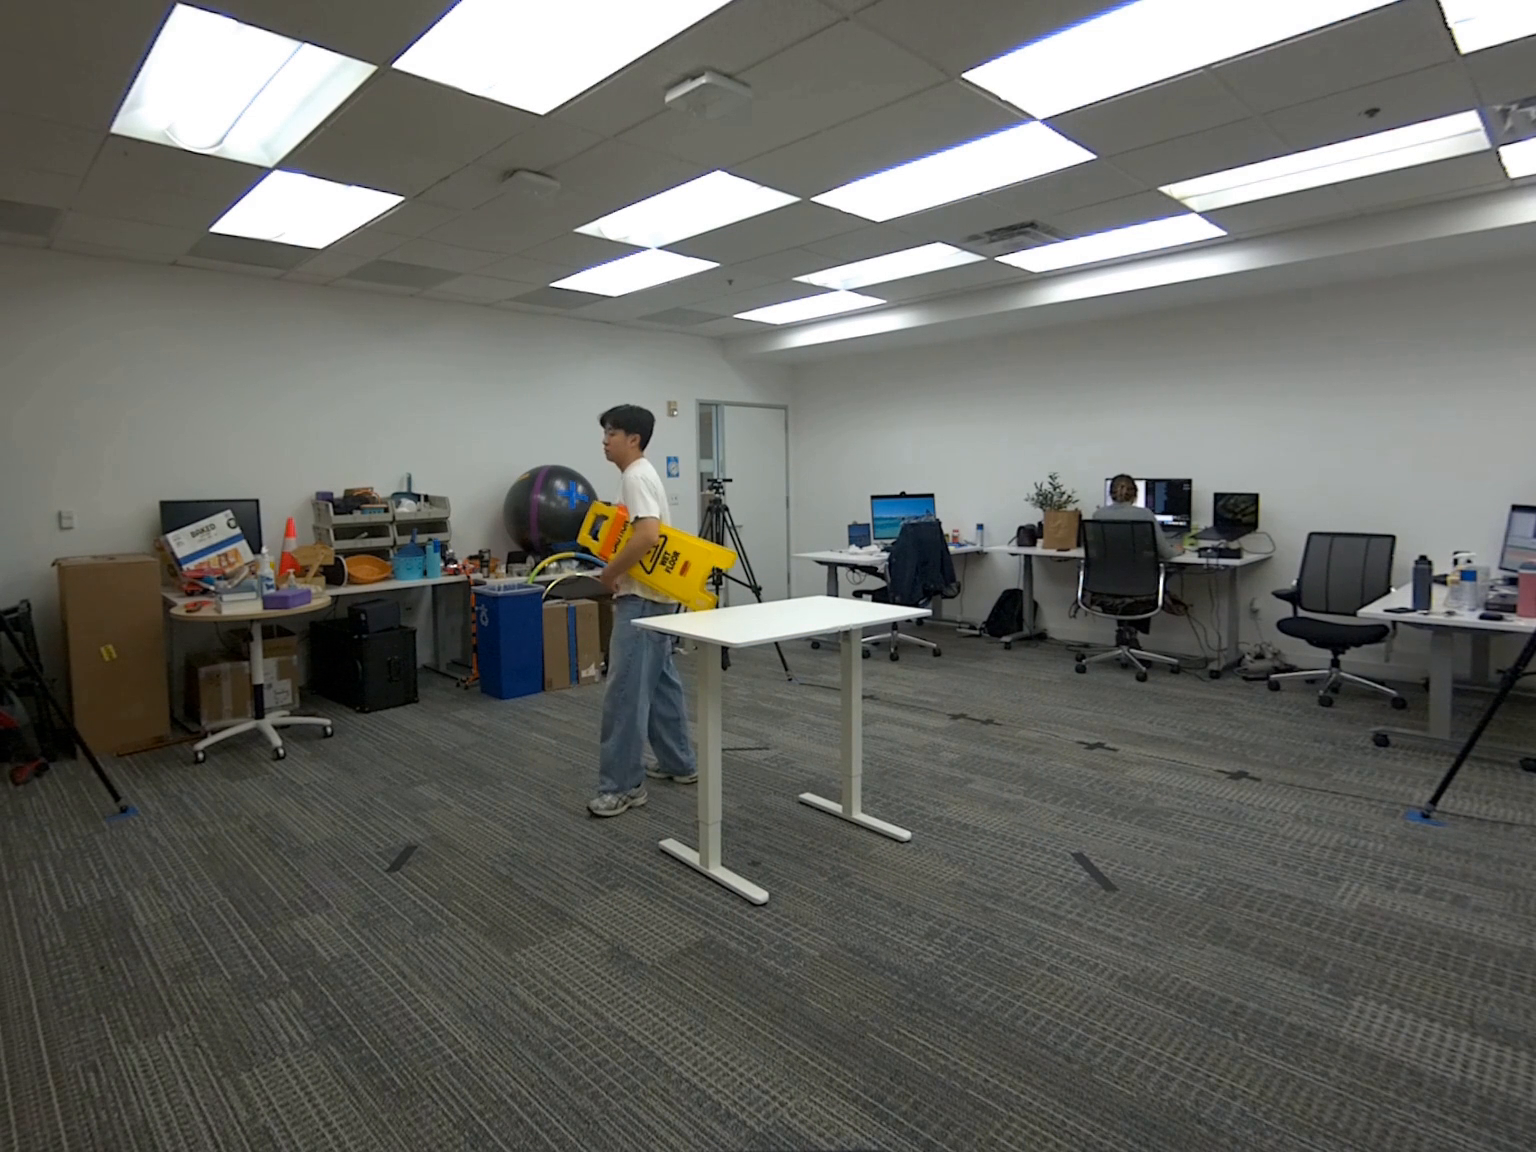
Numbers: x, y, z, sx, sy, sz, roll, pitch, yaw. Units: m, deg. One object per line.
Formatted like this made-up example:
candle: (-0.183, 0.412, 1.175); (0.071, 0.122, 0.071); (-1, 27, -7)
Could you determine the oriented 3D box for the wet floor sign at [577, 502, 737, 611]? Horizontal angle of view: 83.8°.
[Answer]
wet floor sign: (-0.495, -0.096, 3.608); (0.653, 0.282, 0.287); (21, 2, 8)
